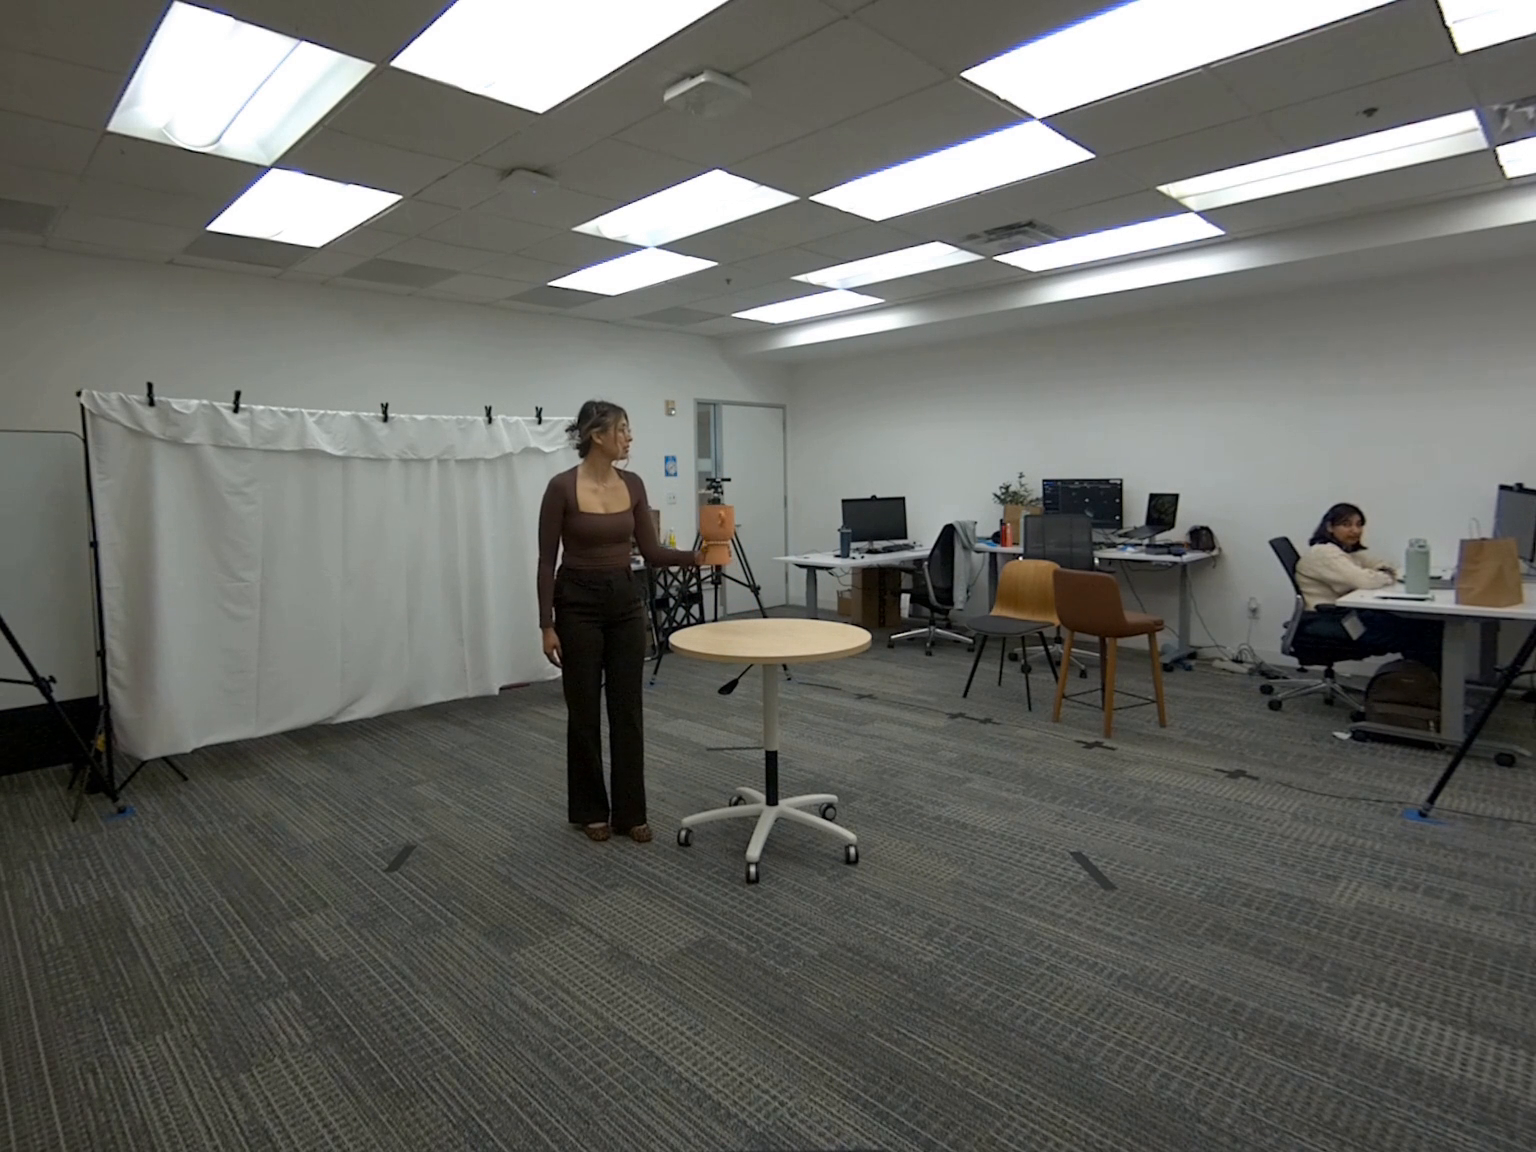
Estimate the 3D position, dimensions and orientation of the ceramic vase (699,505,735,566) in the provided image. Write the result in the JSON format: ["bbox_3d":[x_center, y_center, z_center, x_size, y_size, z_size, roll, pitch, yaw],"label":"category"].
[{"bbox_3d":[-0.192,-0.152,3.226,0.138,0.220,0.155,0,0,25],"label":"ceramic vase"}]
